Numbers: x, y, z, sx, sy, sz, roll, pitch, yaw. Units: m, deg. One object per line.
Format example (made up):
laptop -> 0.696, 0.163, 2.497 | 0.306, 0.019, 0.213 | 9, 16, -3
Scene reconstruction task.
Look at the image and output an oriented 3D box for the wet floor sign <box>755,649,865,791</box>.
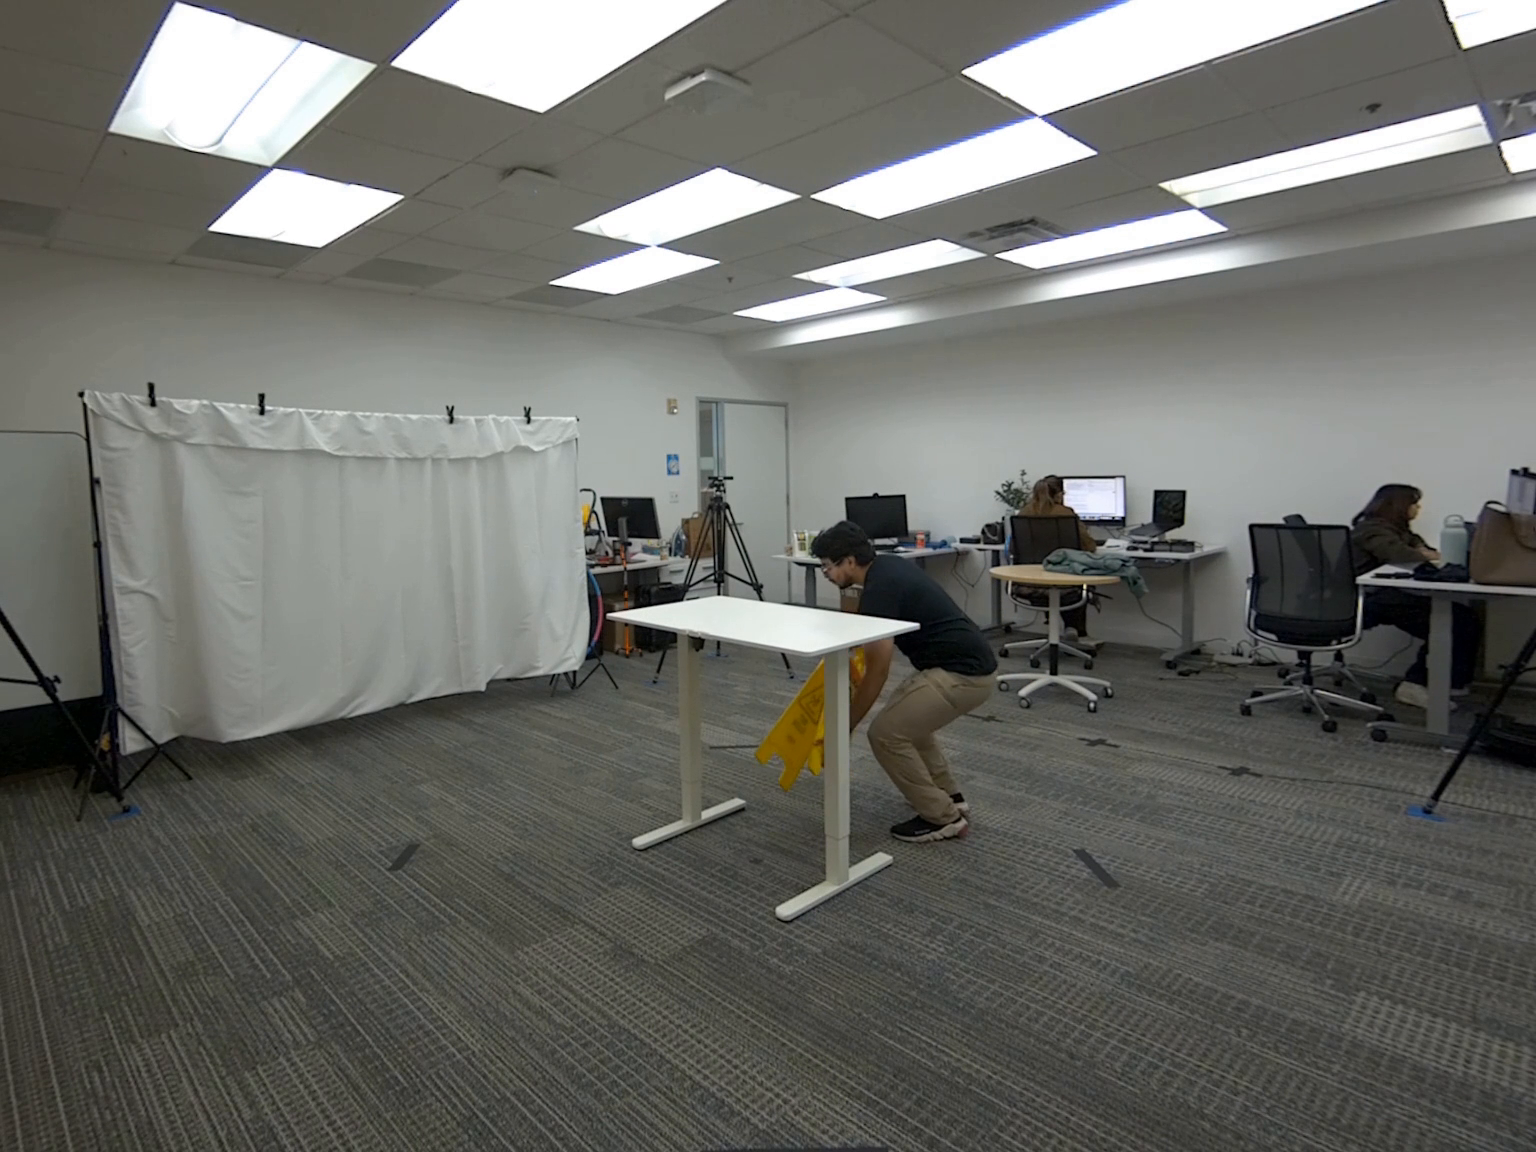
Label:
wet floor sign -> 0.246, 0.527, 3.408 | 0.298, 0.651, 0.272 | 0, -41, 38
